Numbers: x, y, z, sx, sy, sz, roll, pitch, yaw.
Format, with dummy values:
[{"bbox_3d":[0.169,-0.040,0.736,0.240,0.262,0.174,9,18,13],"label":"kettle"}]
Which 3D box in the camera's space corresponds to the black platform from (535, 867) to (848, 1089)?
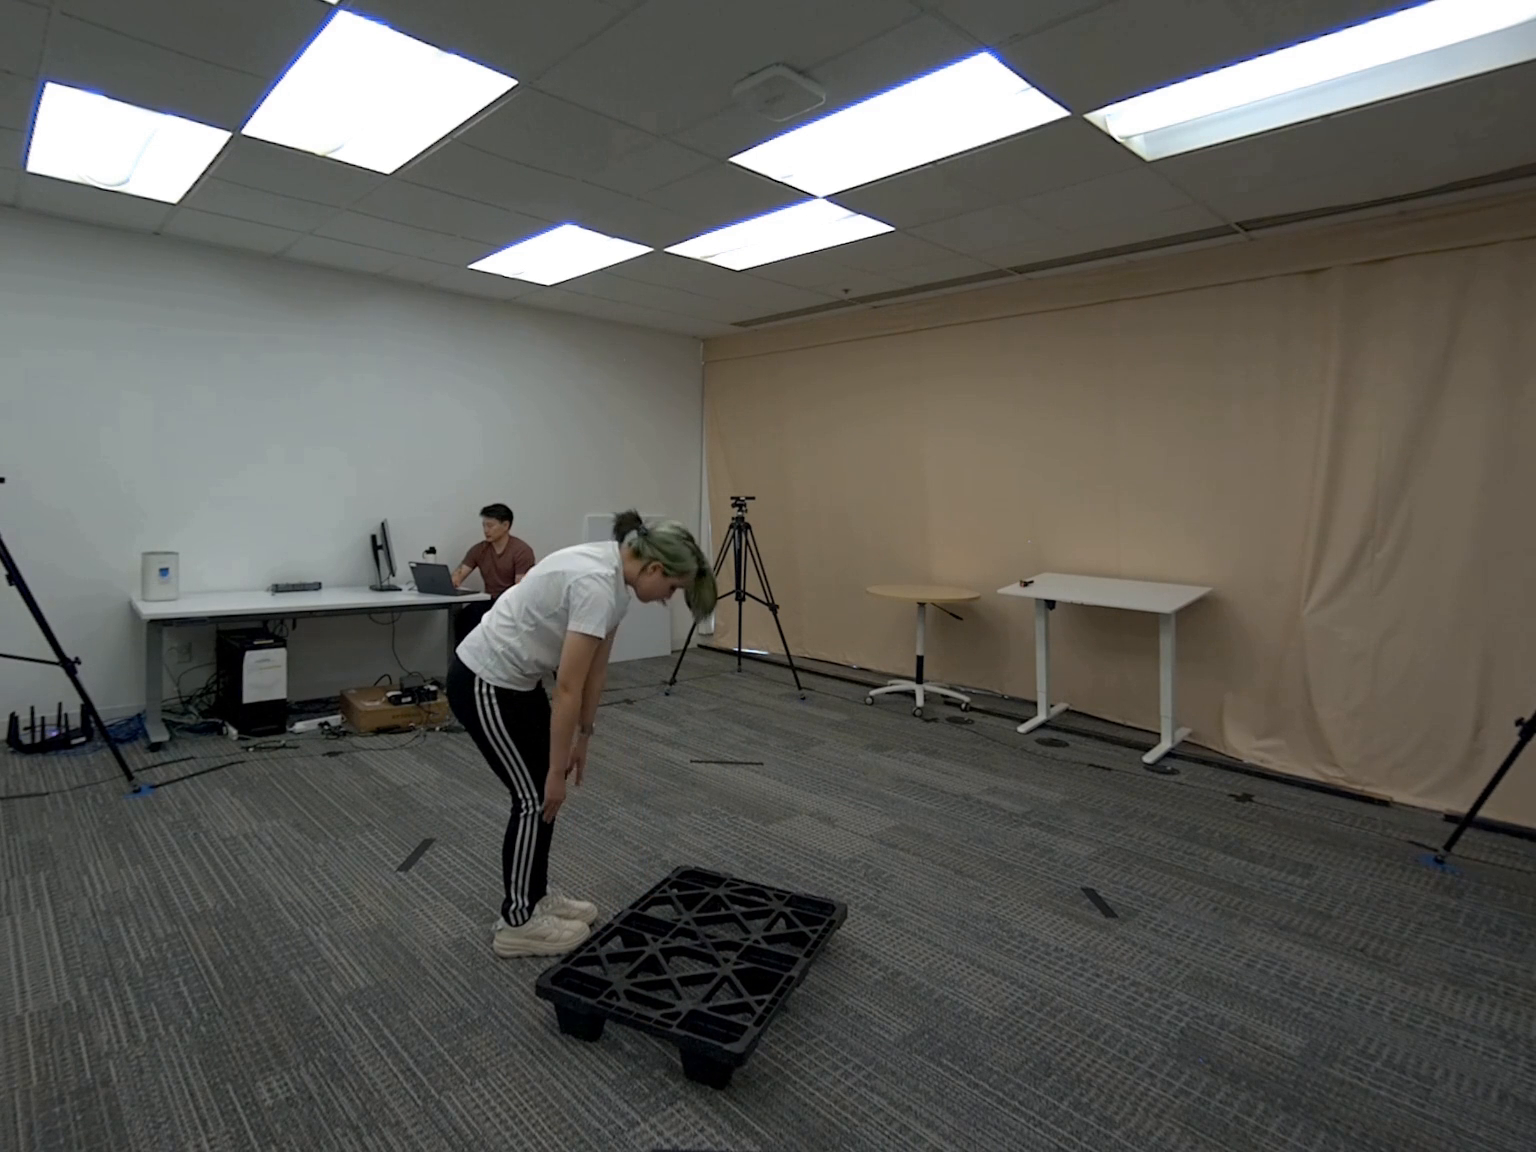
[{"bbox_3d":[-0.190,1.099,2.397,0.617,0.143,0.792,4,5,24],"label":"black platform"}]
